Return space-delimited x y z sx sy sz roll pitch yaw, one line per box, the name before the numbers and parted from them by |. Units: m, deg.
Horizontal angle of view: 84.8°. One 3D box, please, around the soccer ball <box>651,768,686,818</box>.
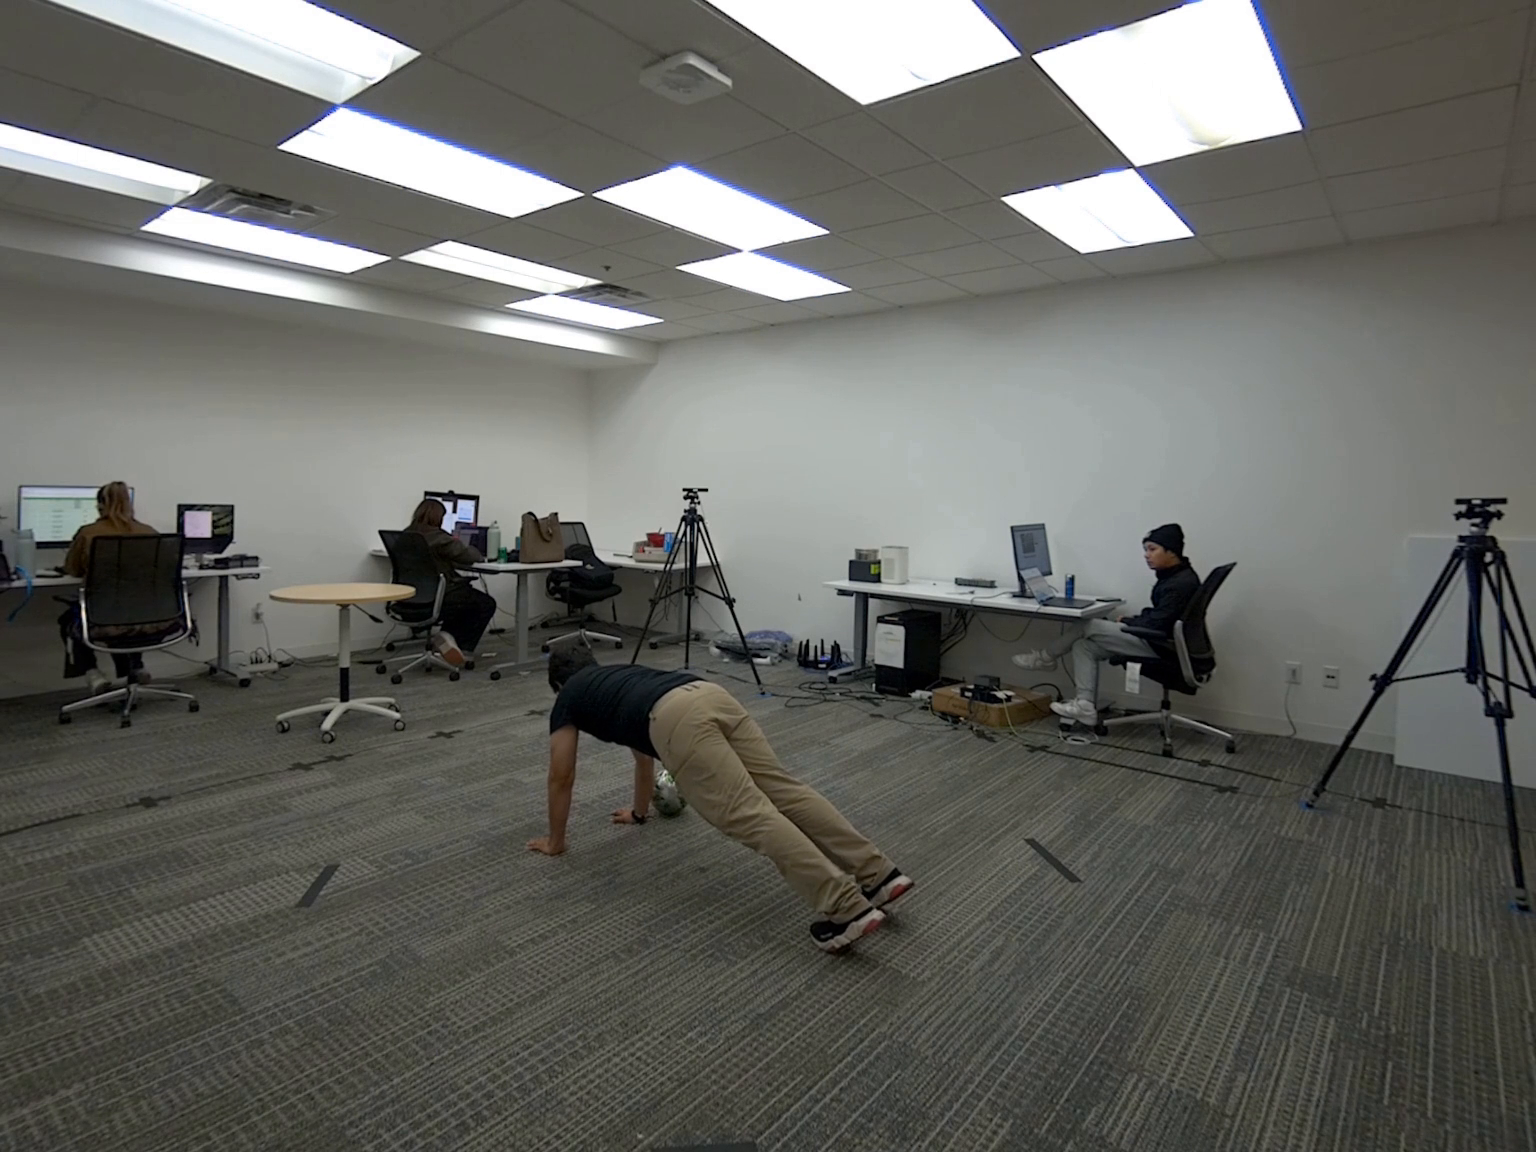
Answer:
soccer ball | -0.430 0.923 3.650 0.187 0.187 0.188 1 4 -2
